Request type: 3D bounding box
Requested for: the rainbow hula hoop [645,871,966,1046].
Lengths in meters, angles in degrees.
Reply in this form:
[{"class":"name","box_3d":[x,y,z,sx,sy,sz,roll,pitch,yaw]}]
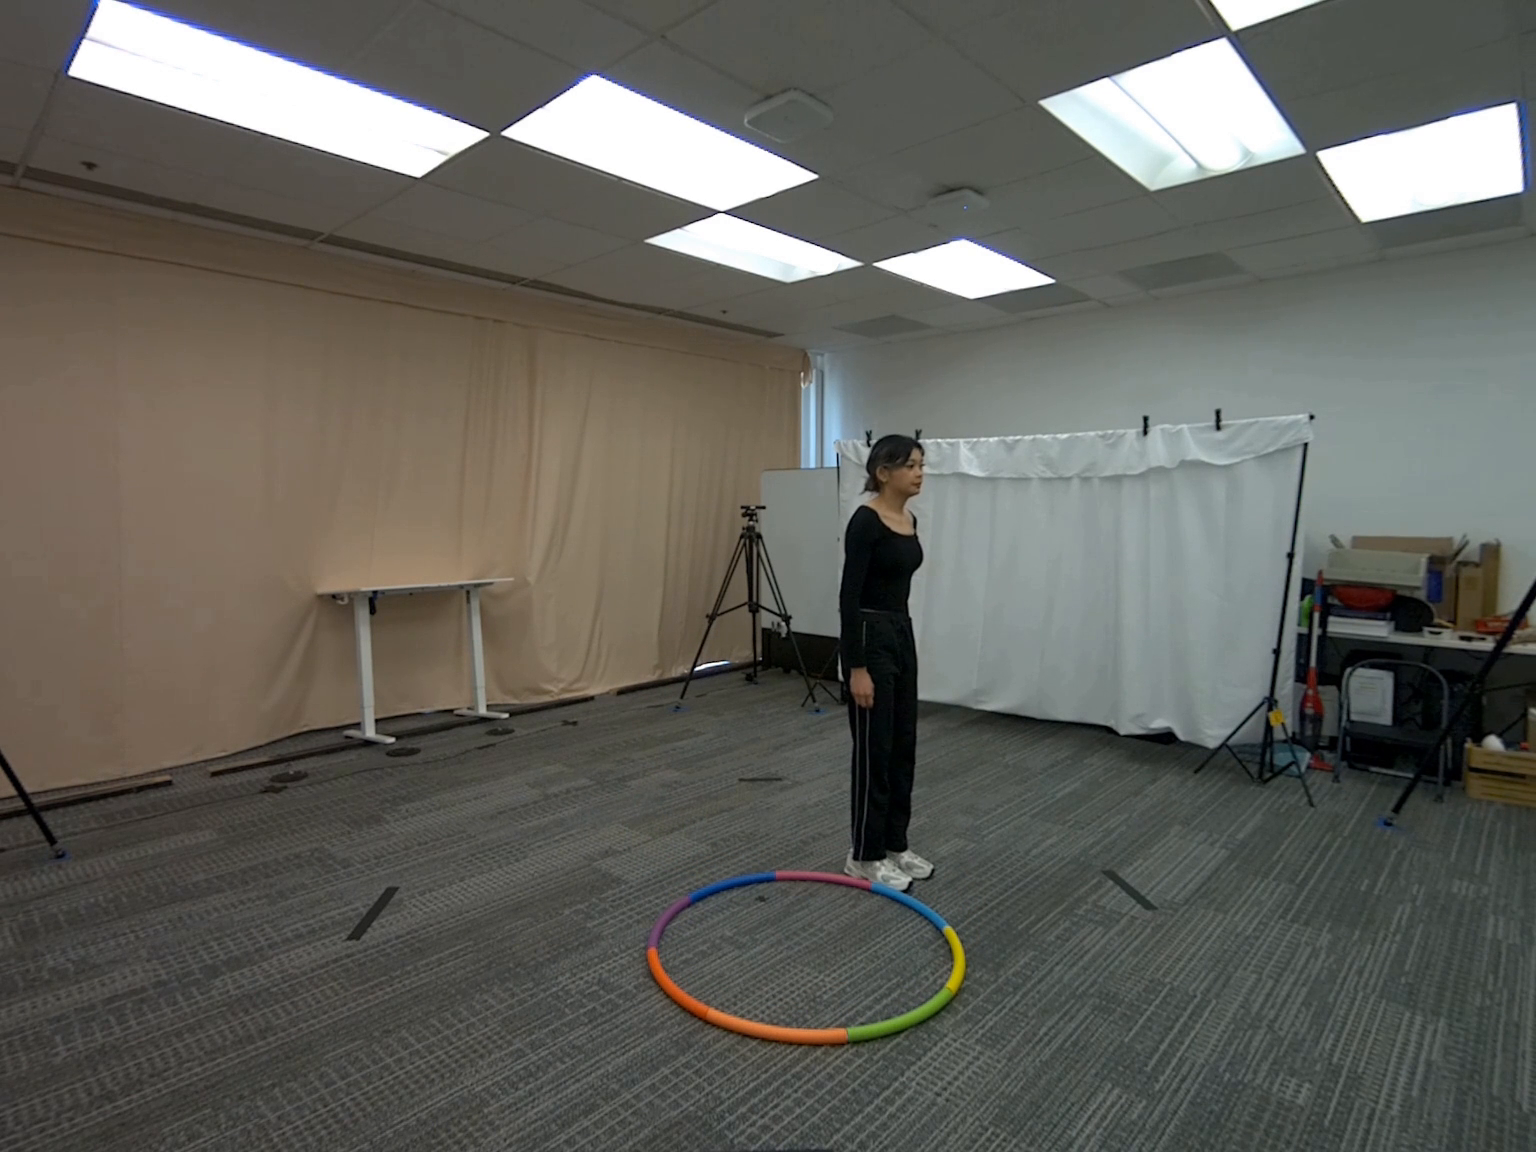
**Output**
[{"class":"rainbow hula hoop","box_3d":[0.110,1.138,2.659,0.978,0.035,0.982,0,5,-2]}]
